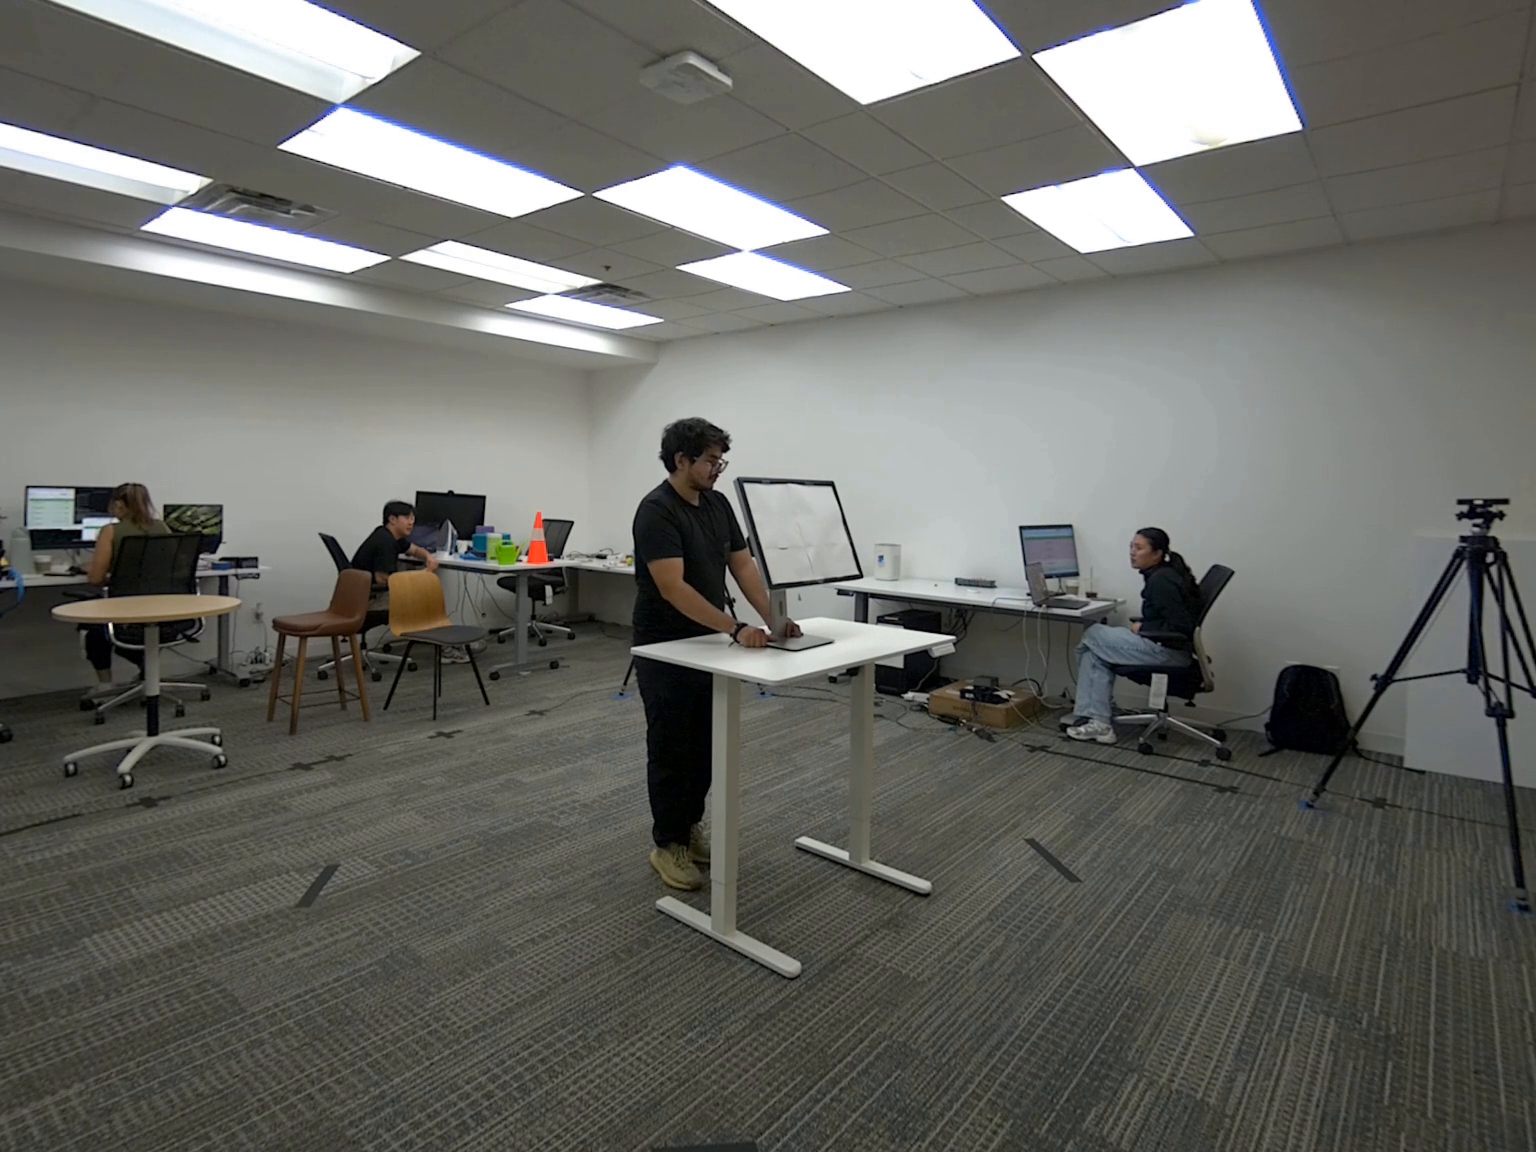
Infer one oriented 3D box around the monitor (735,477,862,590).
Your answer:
[{"bbox_3d":[0.056,-0.048,2.827,0.215,0.557,0.549,-12,-4,36],"label":"monitor"}]
